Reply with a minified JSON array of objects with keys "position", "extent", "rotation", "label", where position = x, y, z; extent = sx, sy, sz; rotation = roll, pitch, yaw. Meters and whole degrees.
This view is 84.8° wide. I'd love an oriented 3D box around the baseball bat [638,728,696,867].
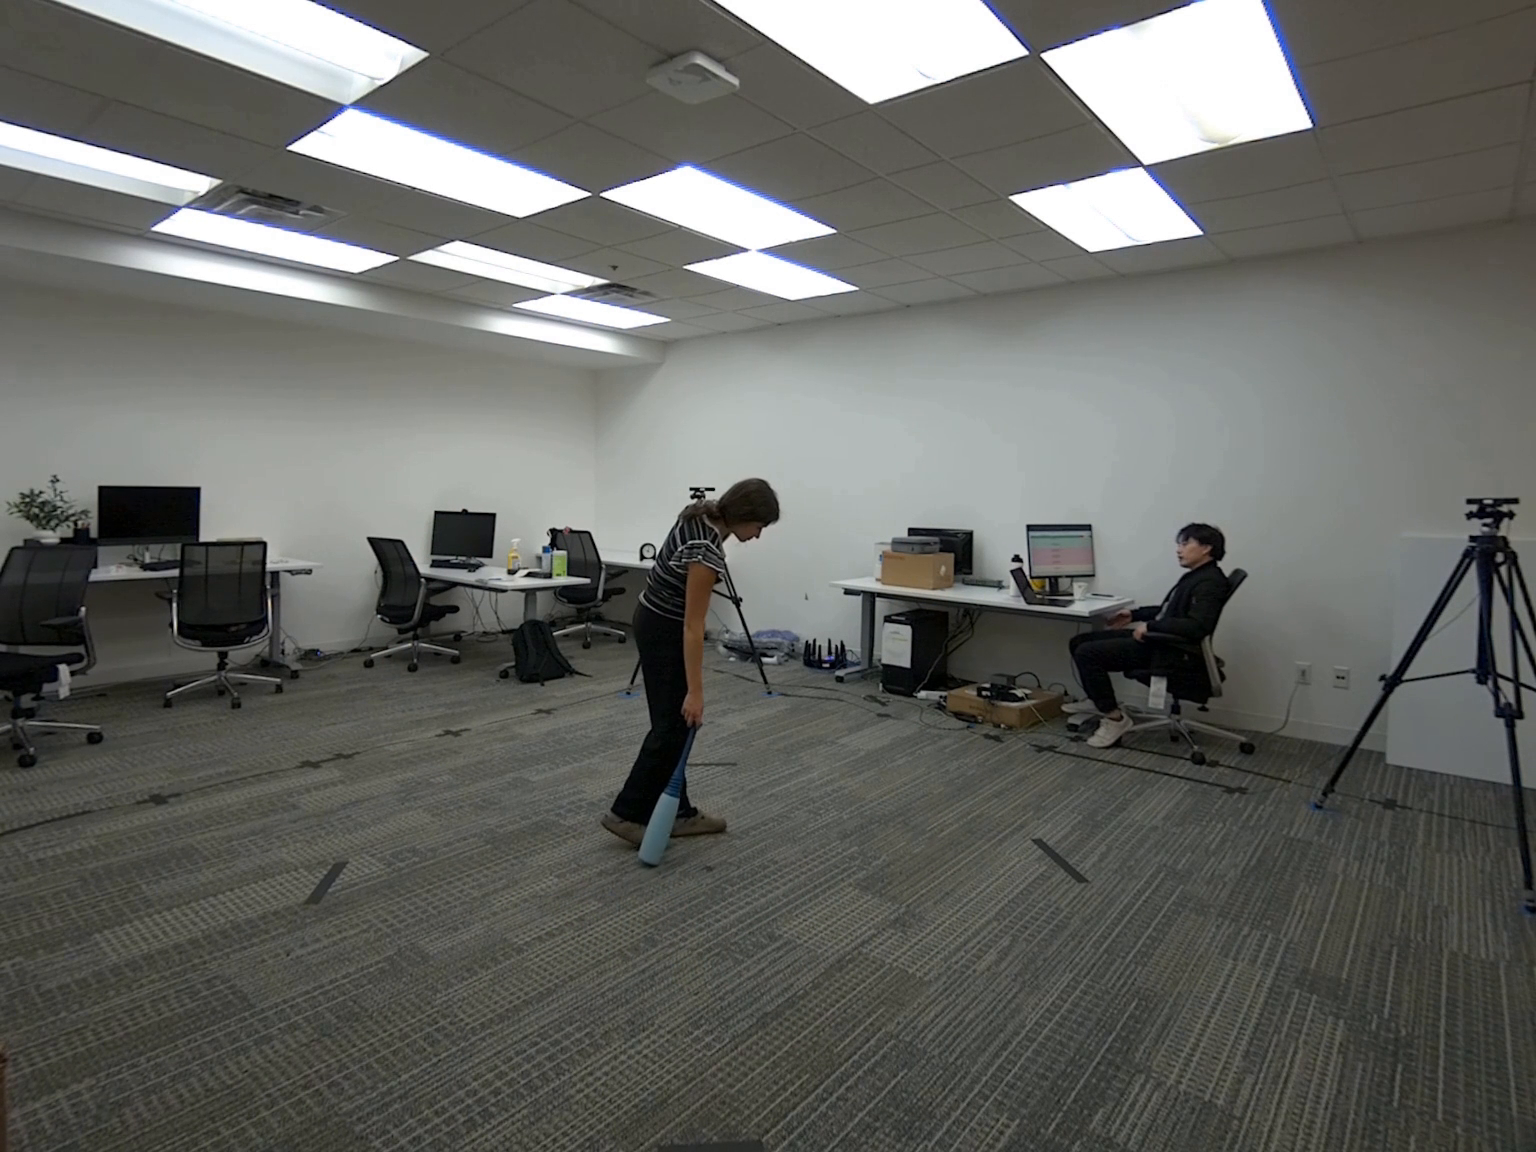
[{"position":[-0.366,0.801,3.186],"extent":[0.089,0.546,0.088],"rotation":[18,-11,1],"label":"baseball bat"}]
